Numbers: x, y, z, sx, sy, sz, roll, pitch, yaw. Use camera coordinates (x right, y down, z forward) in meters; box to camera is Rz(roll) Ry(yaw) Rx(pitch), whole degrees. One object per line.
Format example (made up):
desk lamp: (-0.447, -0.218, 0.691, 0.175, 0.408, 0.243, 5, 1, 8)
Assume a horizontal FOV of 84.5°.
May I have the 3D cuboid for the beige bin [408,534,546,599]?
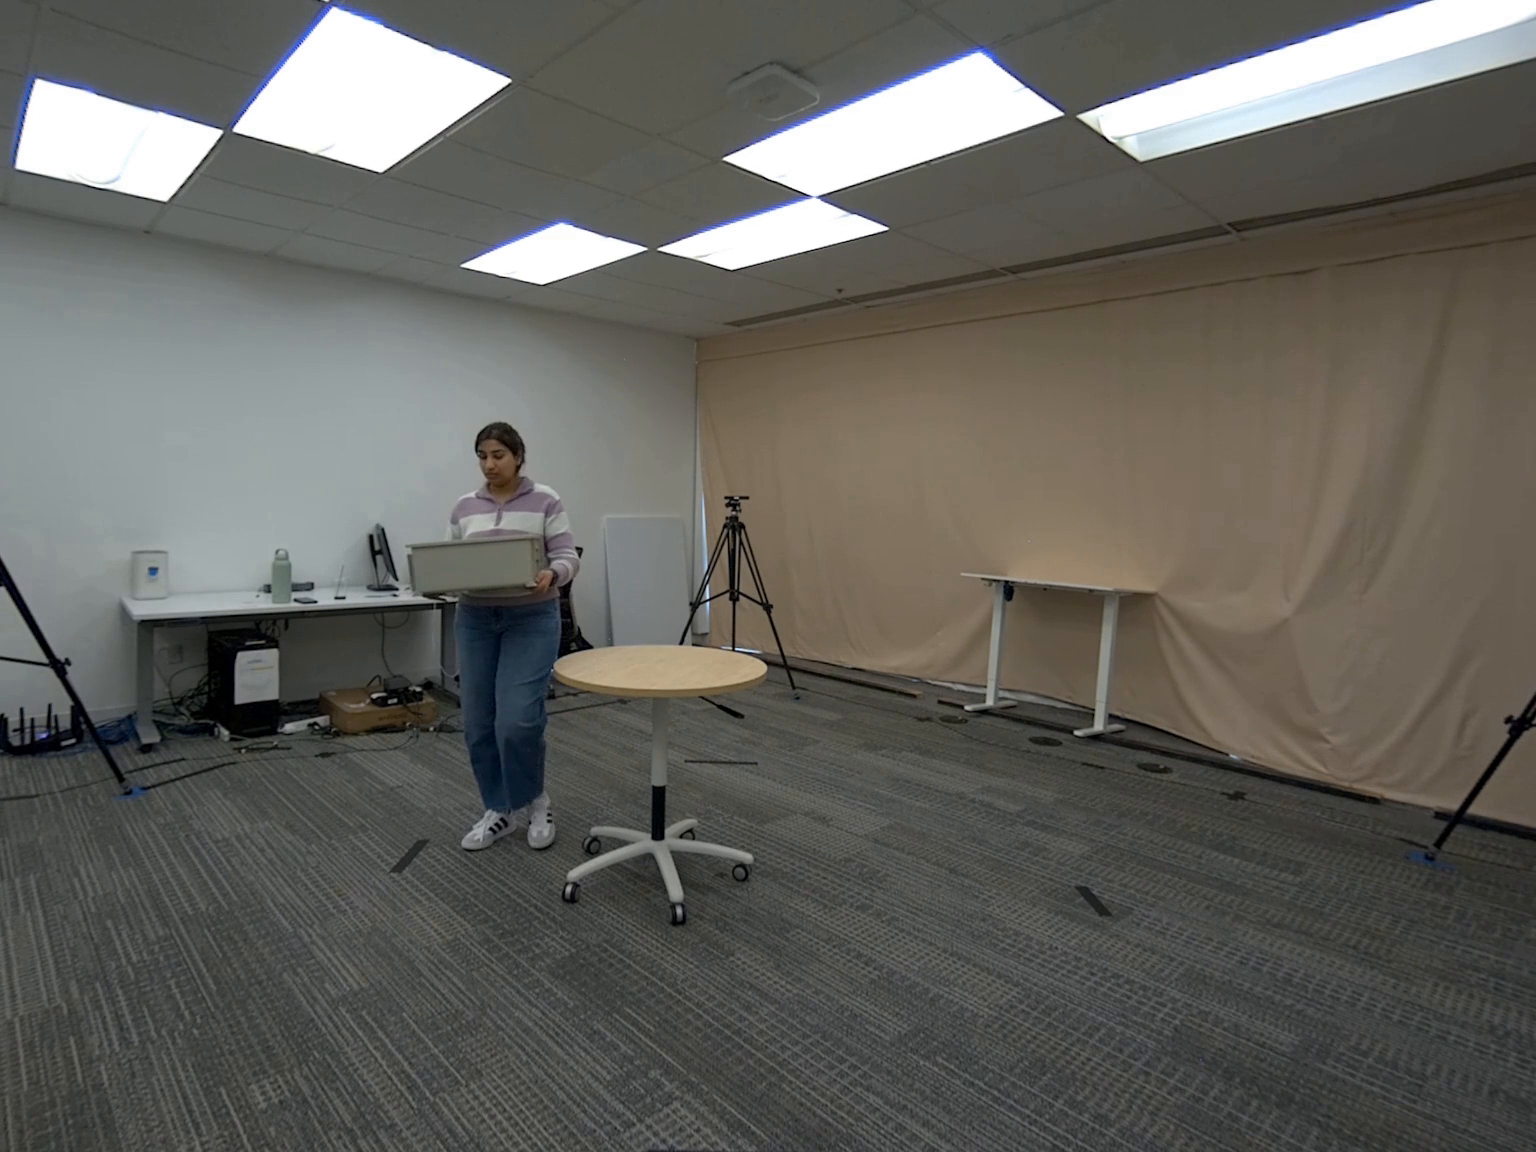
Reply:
beige bin: (-1.055, -0.040, 3.039, 0.420, 0.188, 0.380, -4, 4, -9)
